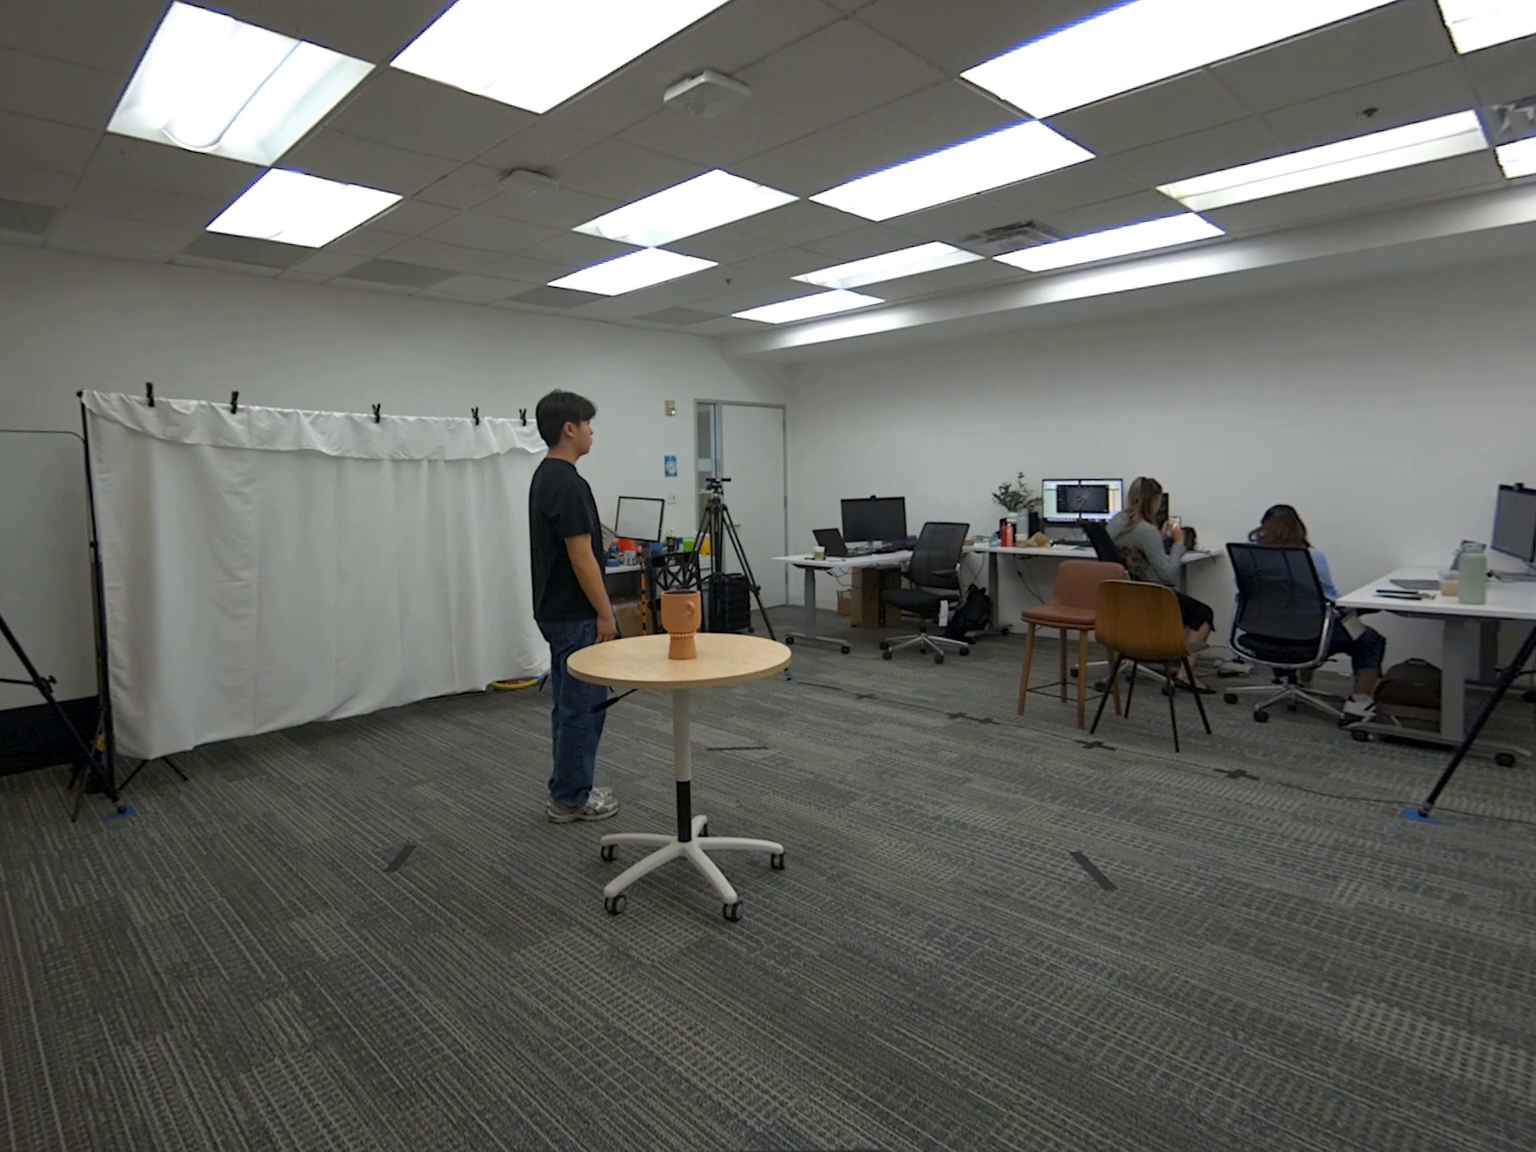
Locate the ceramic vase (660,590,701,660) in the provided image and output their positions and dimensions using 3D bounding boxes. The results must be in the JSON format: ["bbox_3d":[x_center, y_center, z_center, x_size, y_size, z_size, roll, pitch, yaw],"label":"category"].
[{"bbox_3d":[-0.286,0.167,2.883,0.136,0.219,0.158,0,5,10],"label":"ceramic vase"}]
